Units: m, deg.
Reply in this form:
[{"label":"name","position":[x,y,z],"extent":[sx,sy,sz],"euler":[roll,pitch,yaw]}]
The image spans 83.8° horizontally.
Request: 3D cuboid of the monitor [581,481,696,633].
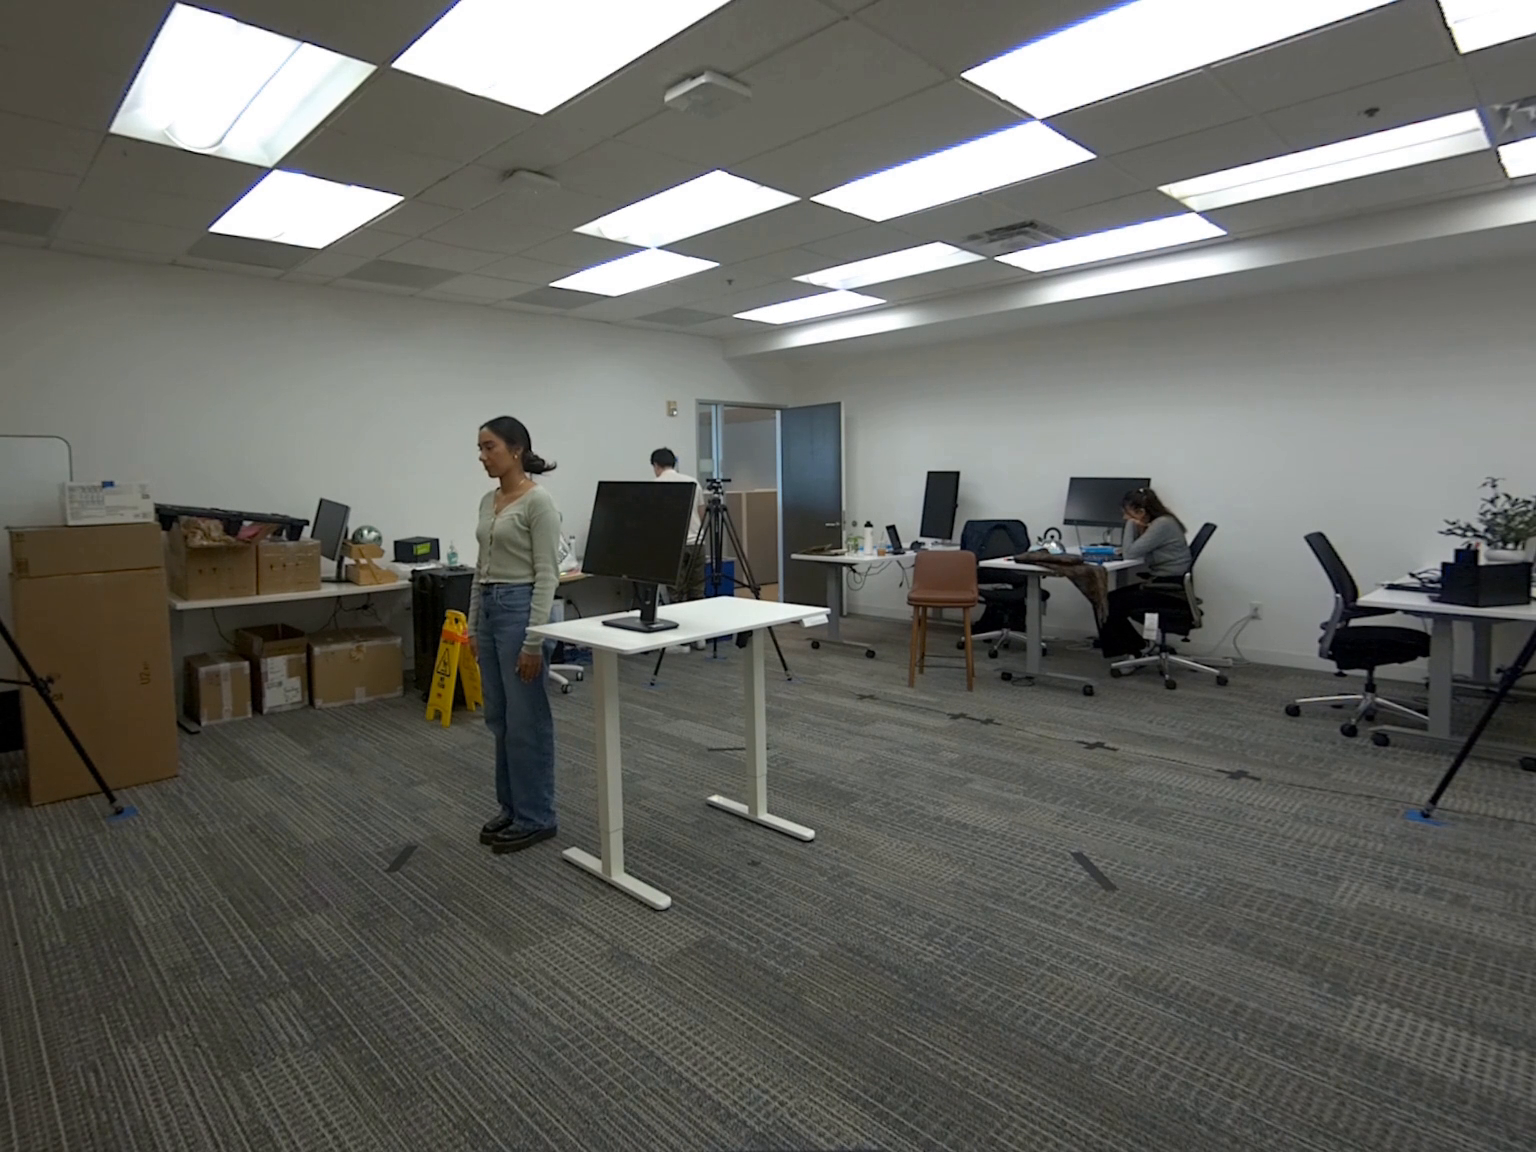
[{"label":"monitor","position":[-0.436,-0.072,3.032],"extent":[0.556,0.521,0.182],"euler":[5,4,43]}]
